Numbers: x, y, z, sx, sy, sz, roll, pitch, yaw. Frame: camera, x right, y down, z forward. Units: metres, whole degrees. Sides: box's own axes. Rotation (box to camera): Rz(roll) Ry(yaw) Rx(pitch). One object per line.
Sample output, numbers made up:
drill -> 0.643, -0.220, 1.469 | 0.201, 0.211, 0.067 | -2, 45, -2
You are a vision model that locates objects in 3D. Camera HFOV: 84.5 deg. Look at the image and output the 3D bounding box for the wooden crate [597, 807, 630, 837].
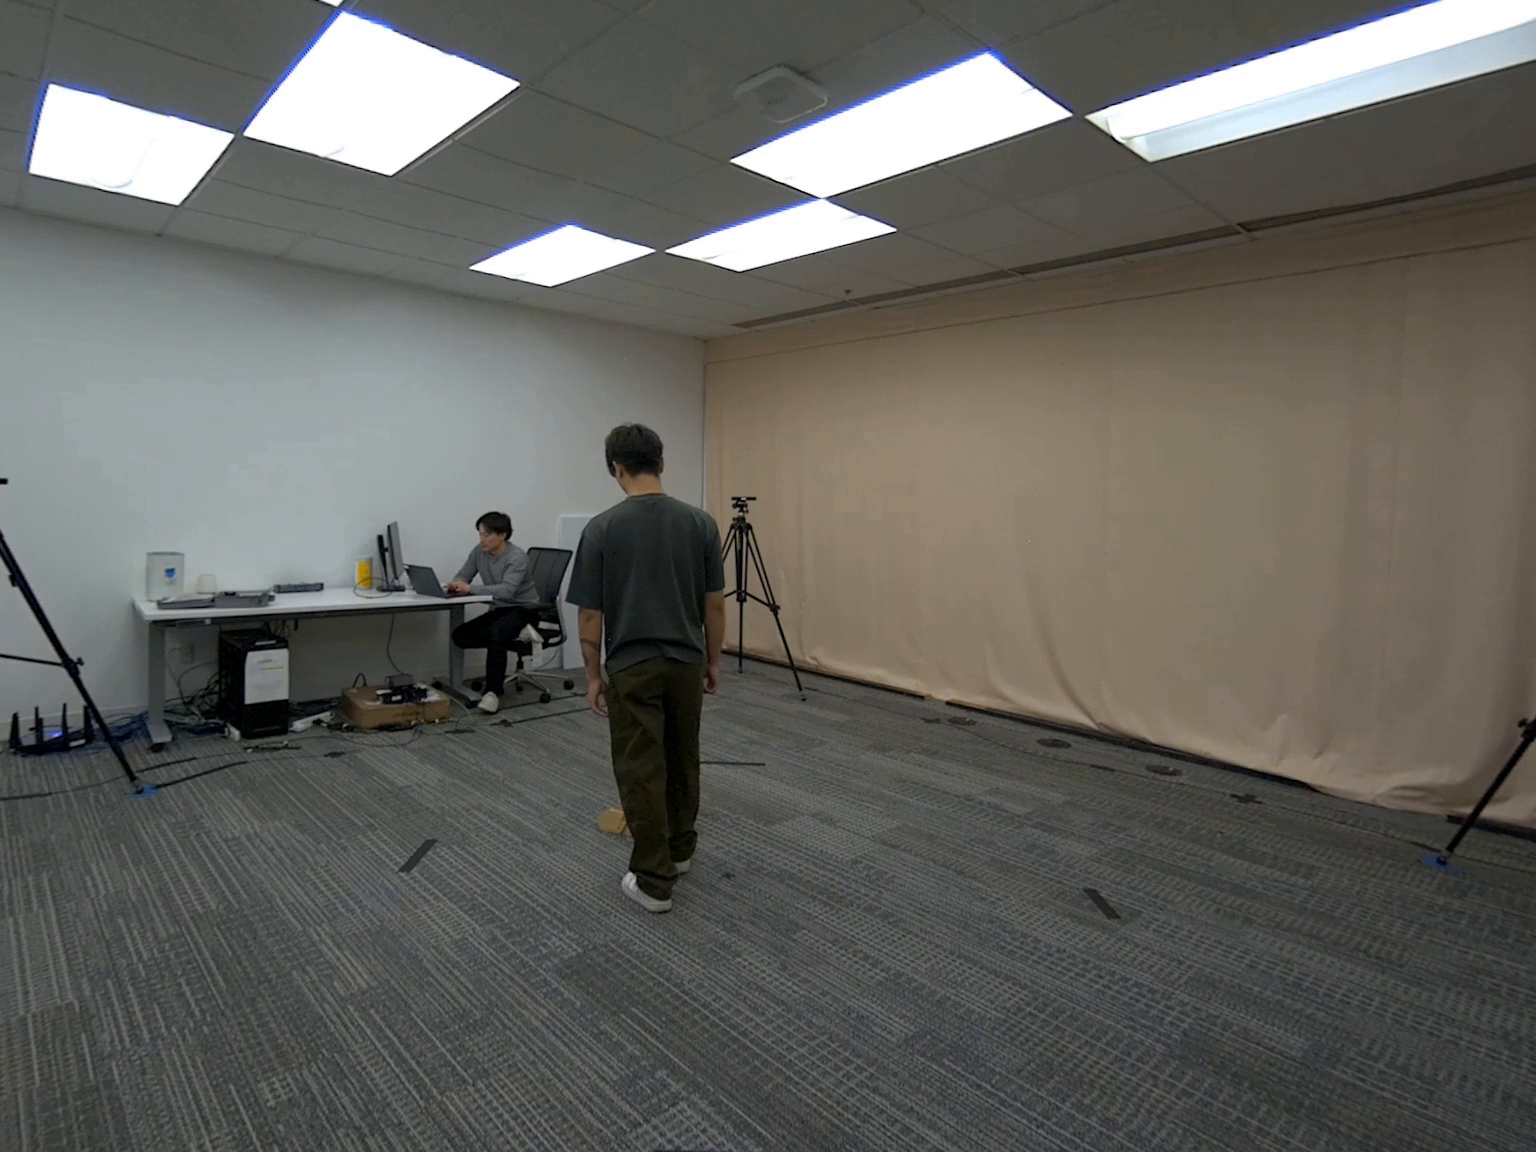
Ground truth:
wooden crate -> -0.534, 0.930, 3.582 | 0.308, 0.272, 0.319 | 4, 5, 23
